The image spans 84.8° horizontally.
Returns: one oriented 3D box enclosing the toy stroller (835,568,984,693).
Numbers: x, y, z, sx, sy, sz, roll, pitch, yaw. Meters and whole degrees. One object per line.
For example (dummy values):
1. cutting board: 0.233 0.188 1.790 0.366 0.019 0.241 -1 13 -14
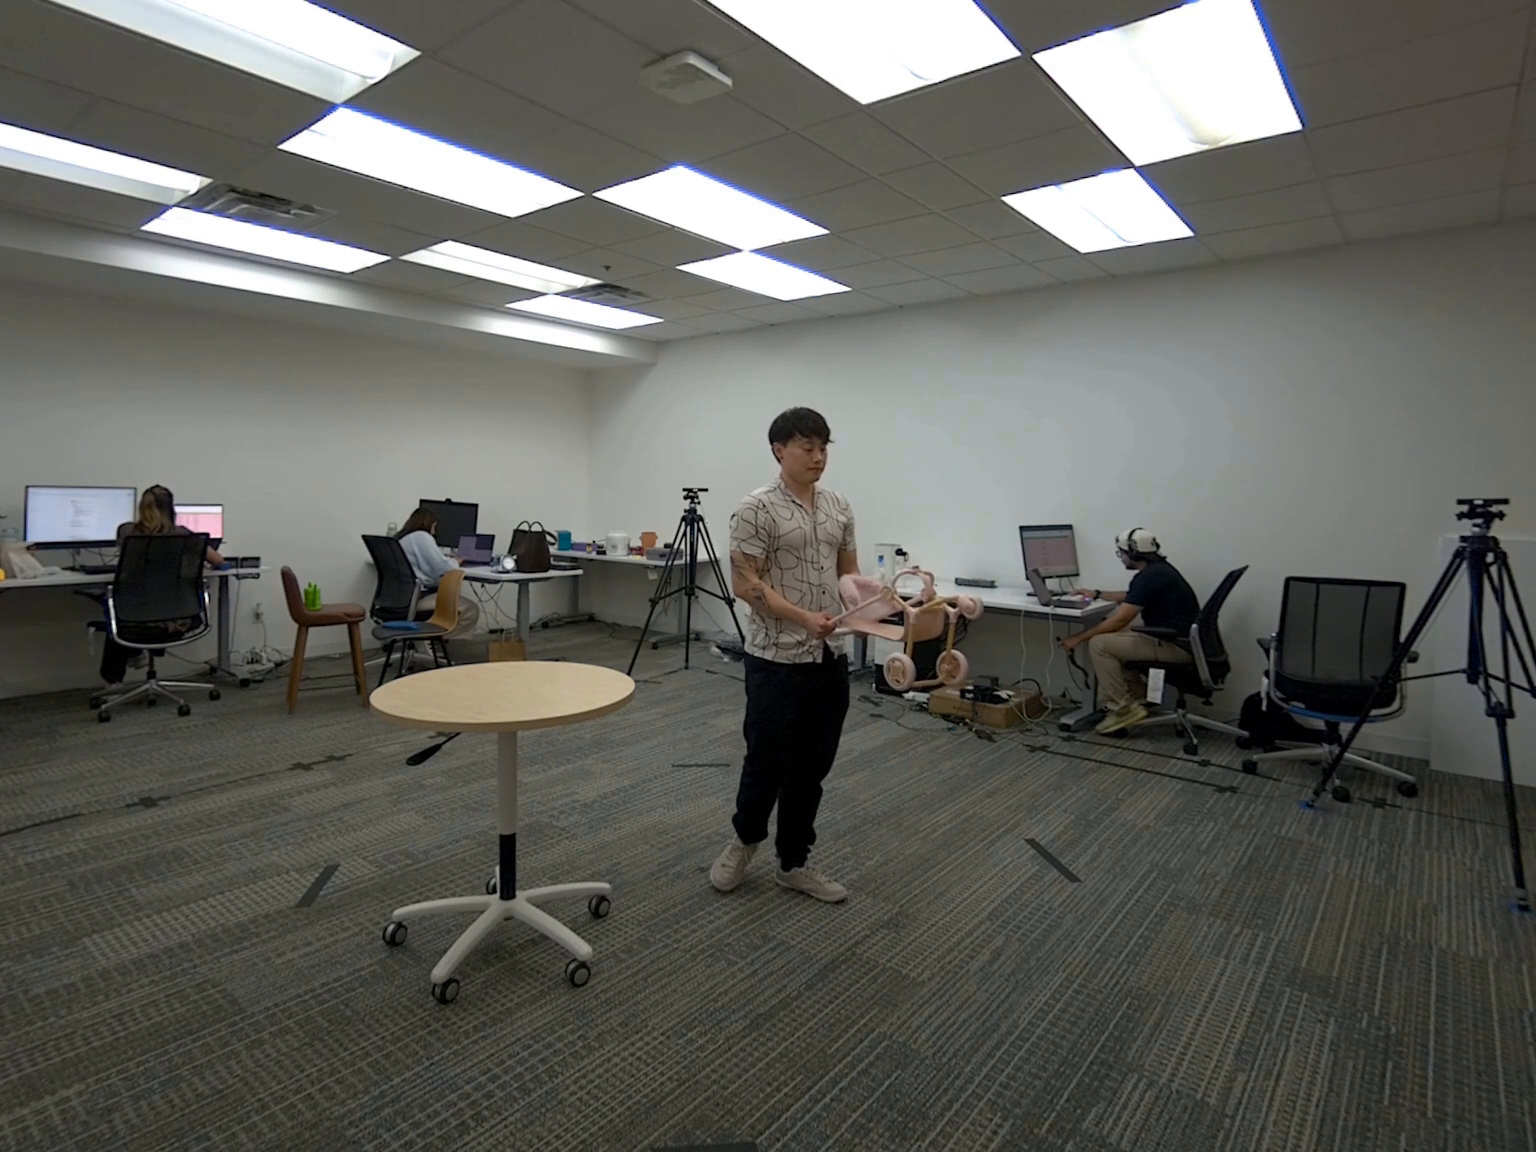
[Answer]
1. toy stroller: 0.398 0.126 2.622 0.273 0.337 0.557 -2 20 -37
